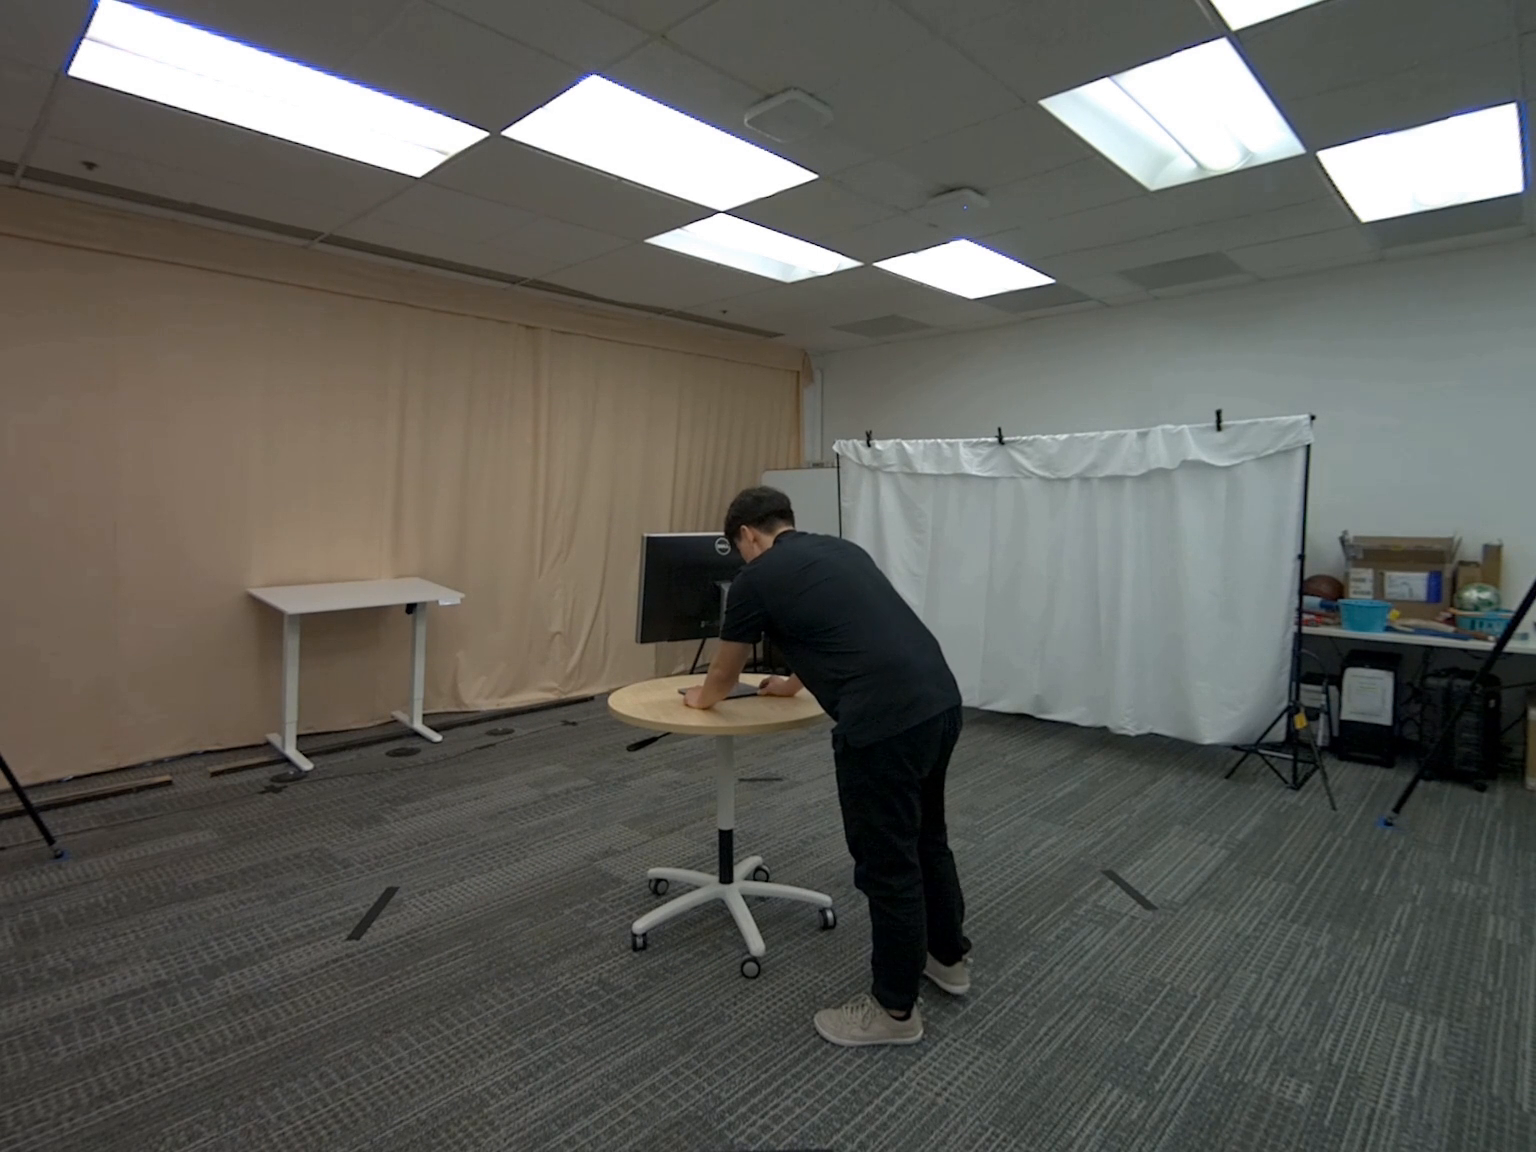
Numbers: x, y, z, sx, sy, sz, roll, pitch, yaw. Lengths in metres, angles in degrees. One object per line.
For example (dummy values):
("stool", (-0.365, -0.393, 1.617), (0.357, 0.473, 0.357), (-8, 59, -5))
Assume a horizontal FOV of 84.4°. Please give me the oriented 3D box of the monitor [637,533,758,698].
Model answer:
("monitor", (-0.160, 0.130, 2.813), (0.524, 0.522, 0.192), (-2, 1, -34))
